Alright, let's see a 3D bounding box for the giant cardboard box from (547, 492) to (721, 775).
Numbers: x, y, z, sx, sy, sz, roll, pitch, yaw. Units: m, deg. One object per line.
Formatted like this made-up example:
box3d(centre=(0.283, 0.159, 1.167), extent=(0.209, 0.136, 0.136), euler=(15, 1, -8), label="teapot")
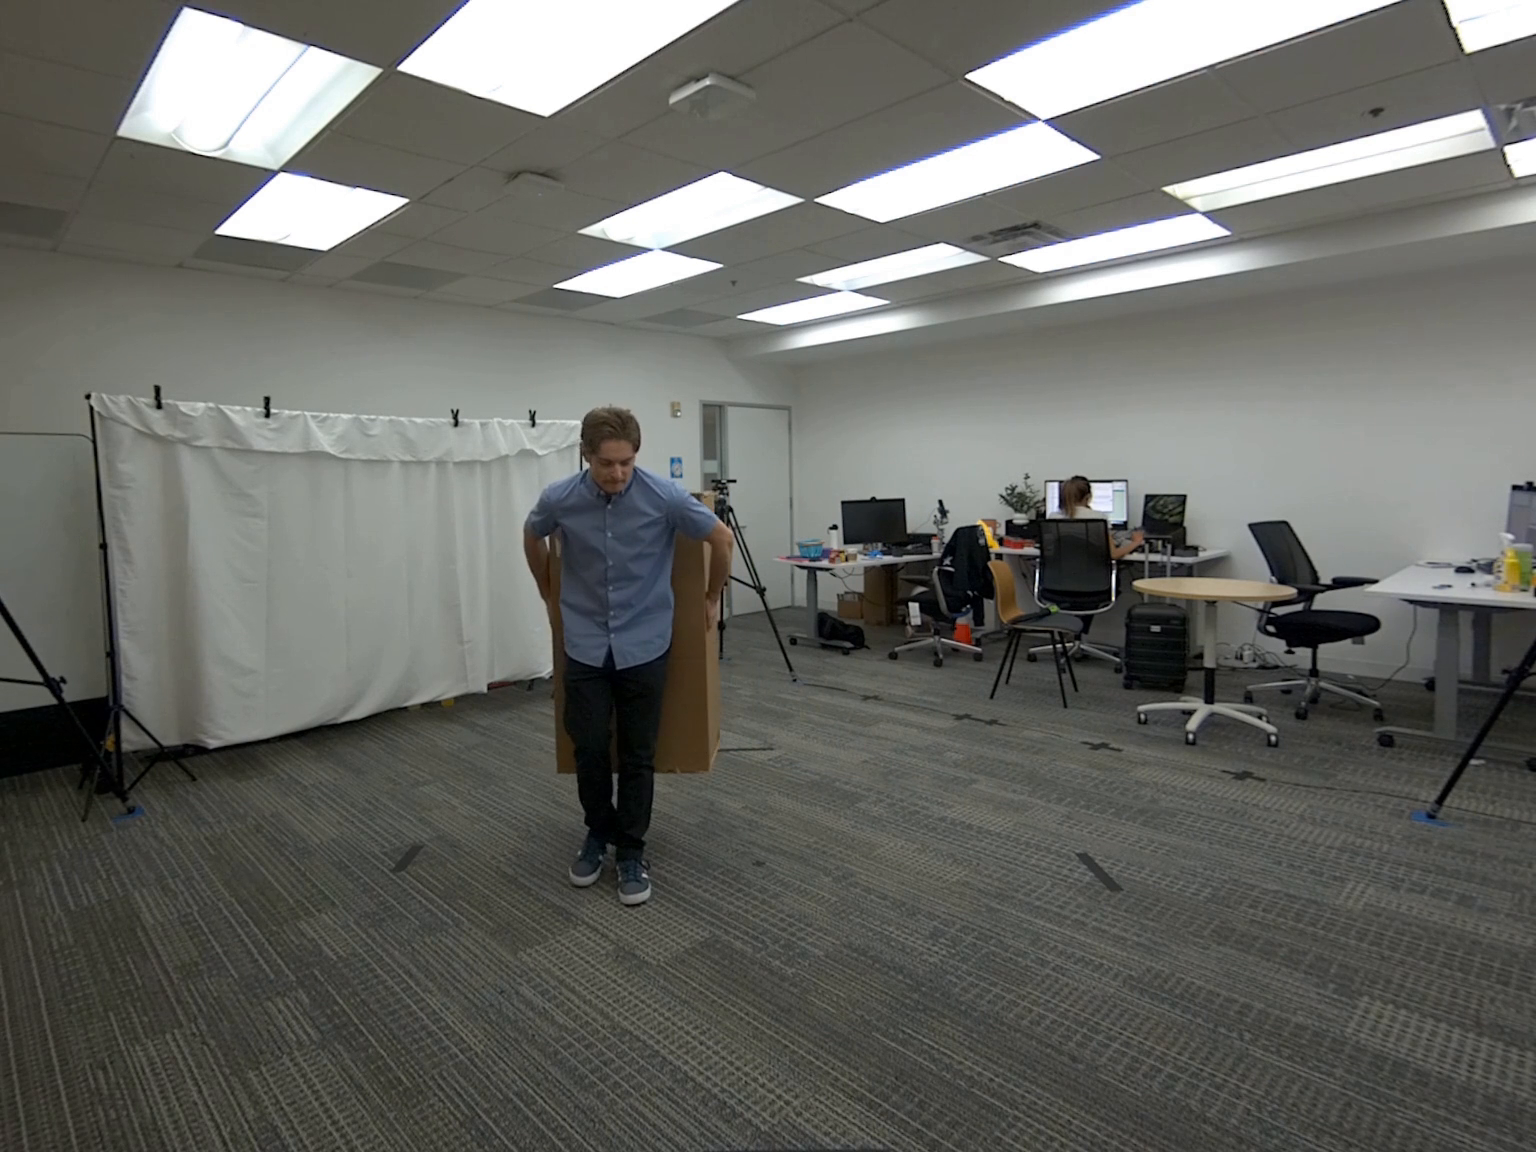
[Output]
box3d(centre=(-0.502, 0.200, 3.310), extent=(0.587, 1.026, 0.445), euler=(-1, 2, 4), label="giant cardboard box")
